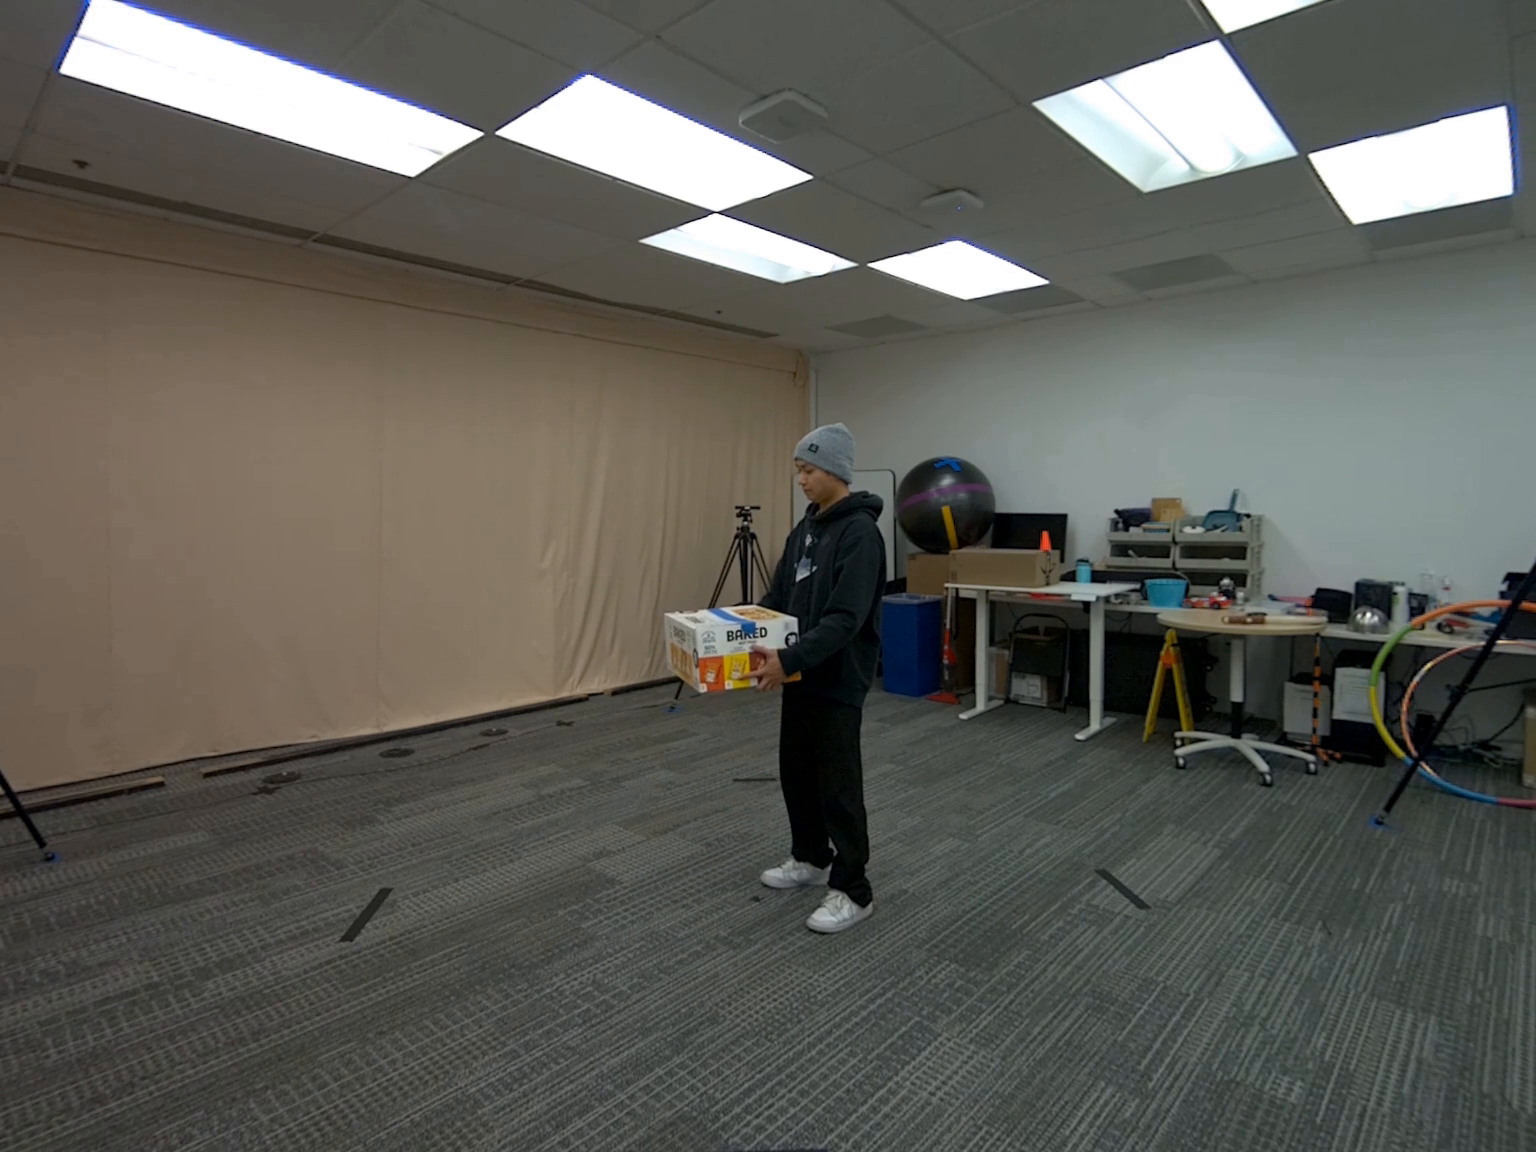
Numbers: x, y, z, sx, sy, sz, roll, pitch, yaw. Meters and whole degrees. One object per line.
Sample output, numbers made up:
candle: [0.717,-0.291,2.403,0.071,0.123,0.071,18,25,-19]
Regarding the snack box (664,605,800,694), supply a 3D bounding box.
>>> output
snack box: [-0.133,0.236,2.829,0.334,0.205,0.413,-4,5,-18]
